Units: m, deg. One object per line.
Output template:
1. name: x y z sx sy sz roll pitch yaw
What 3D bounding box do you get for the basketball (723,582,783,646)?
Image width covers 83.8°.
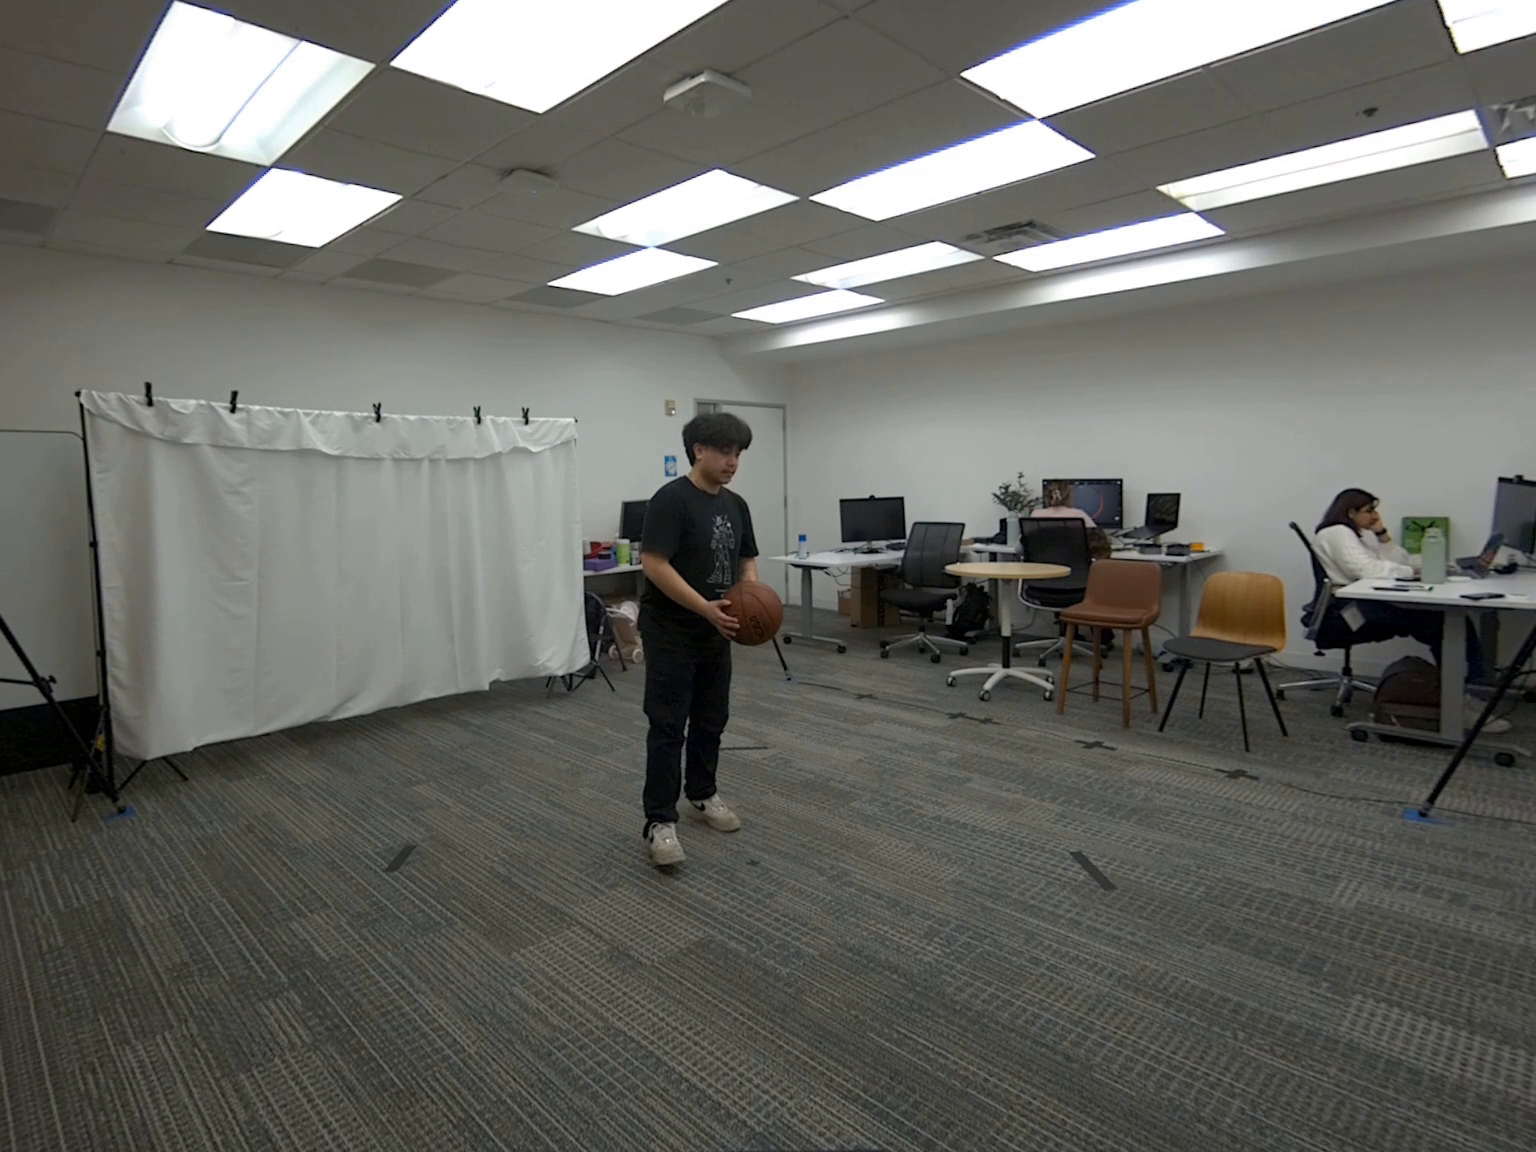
1. basketball: -0.069 0.142 3.121 0.236 0.235 0.237 -1 5 -2
